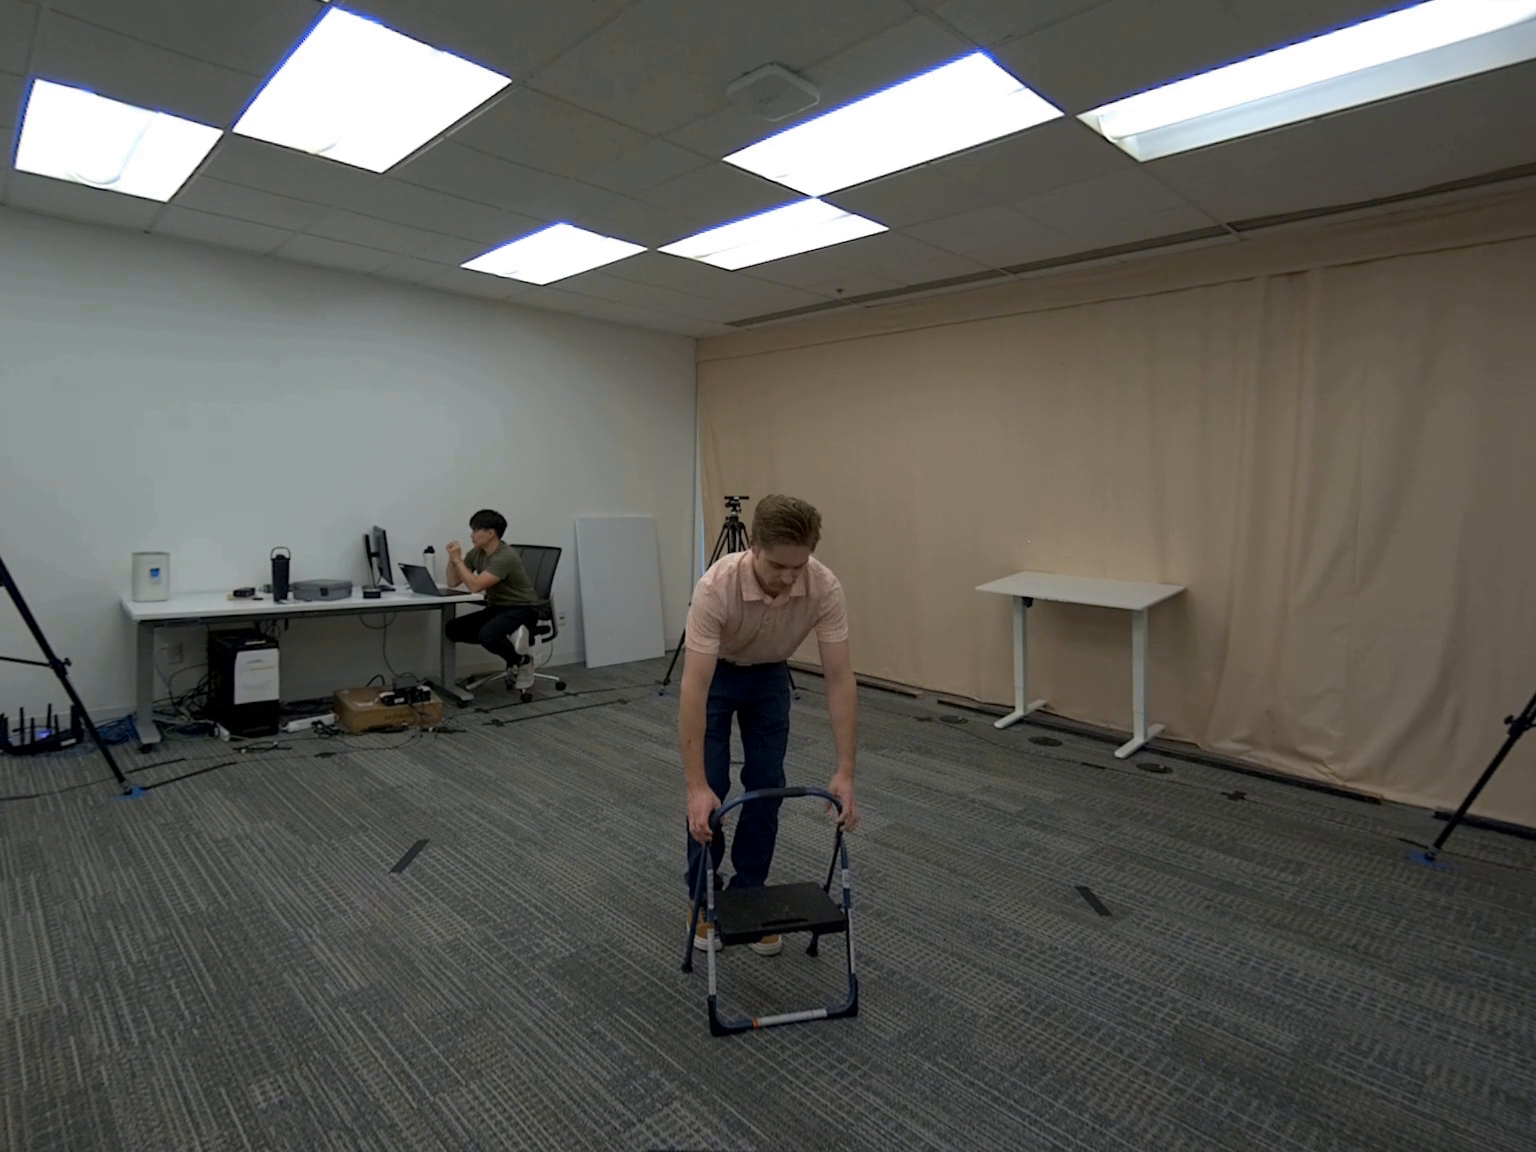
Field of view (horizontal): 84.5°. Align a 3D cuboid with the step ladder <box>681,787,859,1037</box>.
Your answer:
[{"bbox_3d":[0.002,0.875,2.364,0.425,0.604,0.355,1,4,-18],"label":"step ladder"}]
